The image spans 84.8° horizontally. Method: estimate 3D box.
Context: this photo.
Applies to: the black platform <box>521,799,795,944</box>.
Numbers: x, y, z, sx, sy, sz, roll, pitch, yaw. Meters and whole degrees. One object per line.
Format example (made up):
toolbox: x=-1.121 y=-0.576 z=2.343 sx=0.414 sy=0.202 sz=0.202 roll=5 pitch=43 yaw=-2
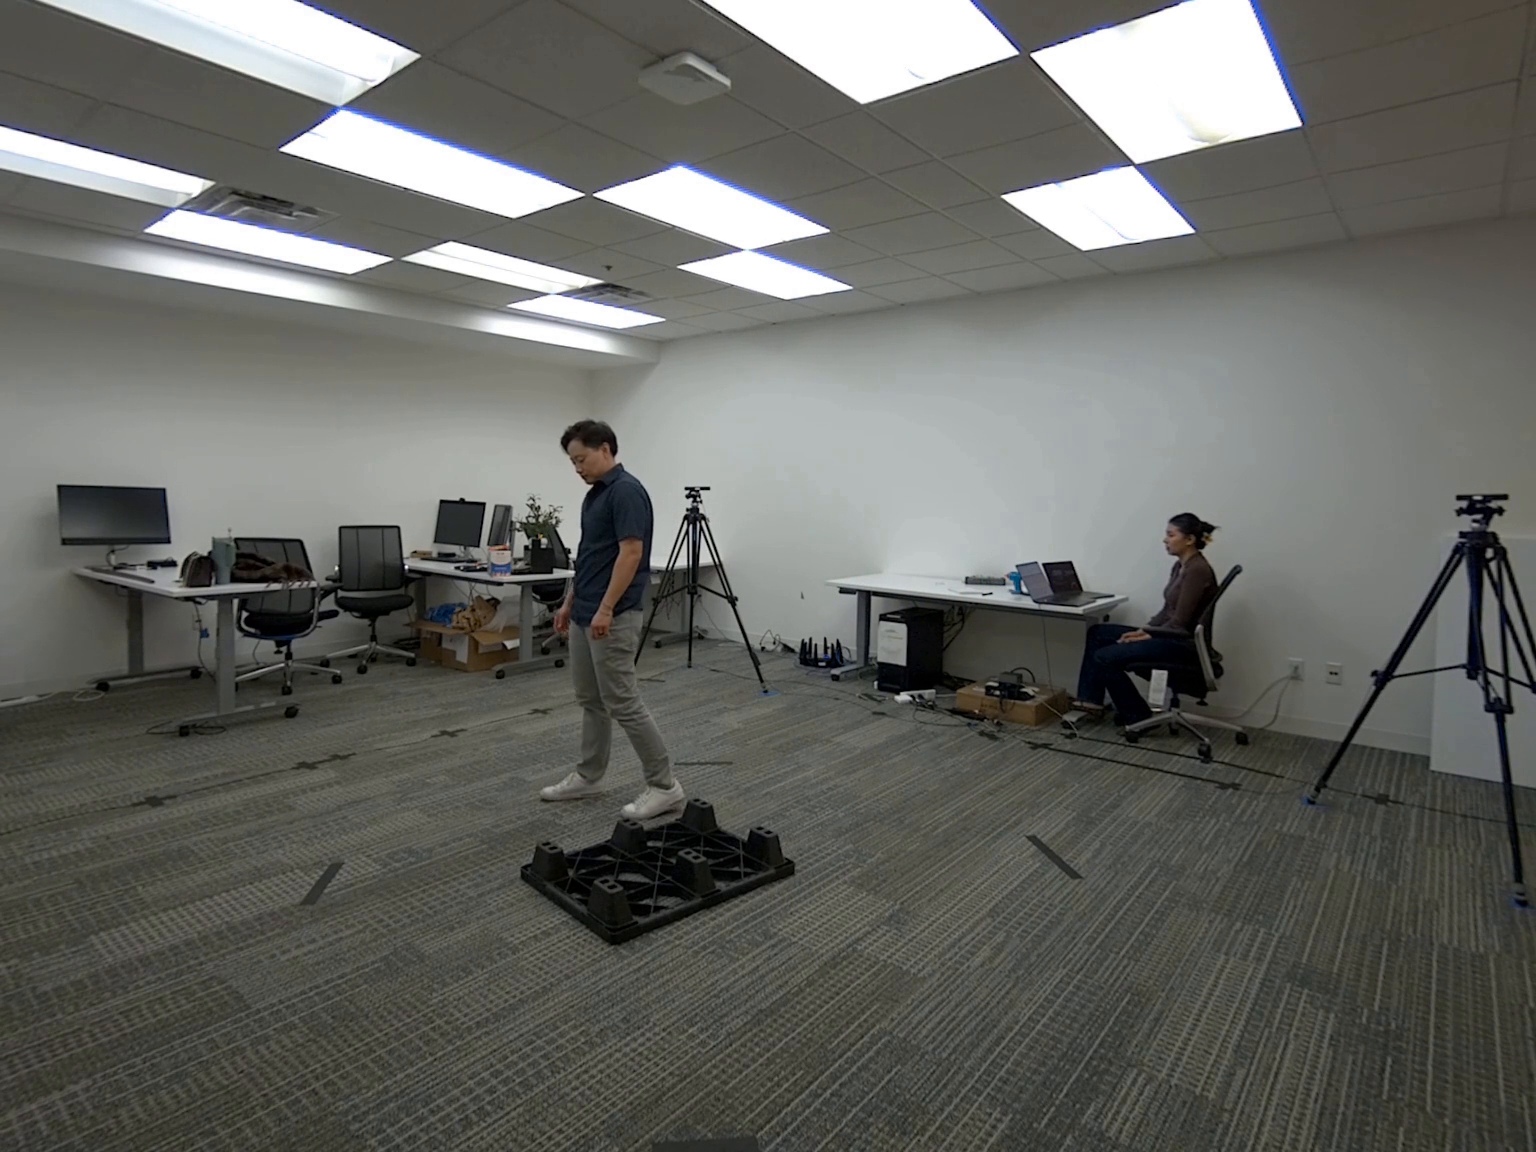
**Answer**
black platform: x=-0.398 y=1.003 z=3.048 sx=0.781 sy=0.143 sz=0.626 roll=-4 pitch=8 yaw=-43
